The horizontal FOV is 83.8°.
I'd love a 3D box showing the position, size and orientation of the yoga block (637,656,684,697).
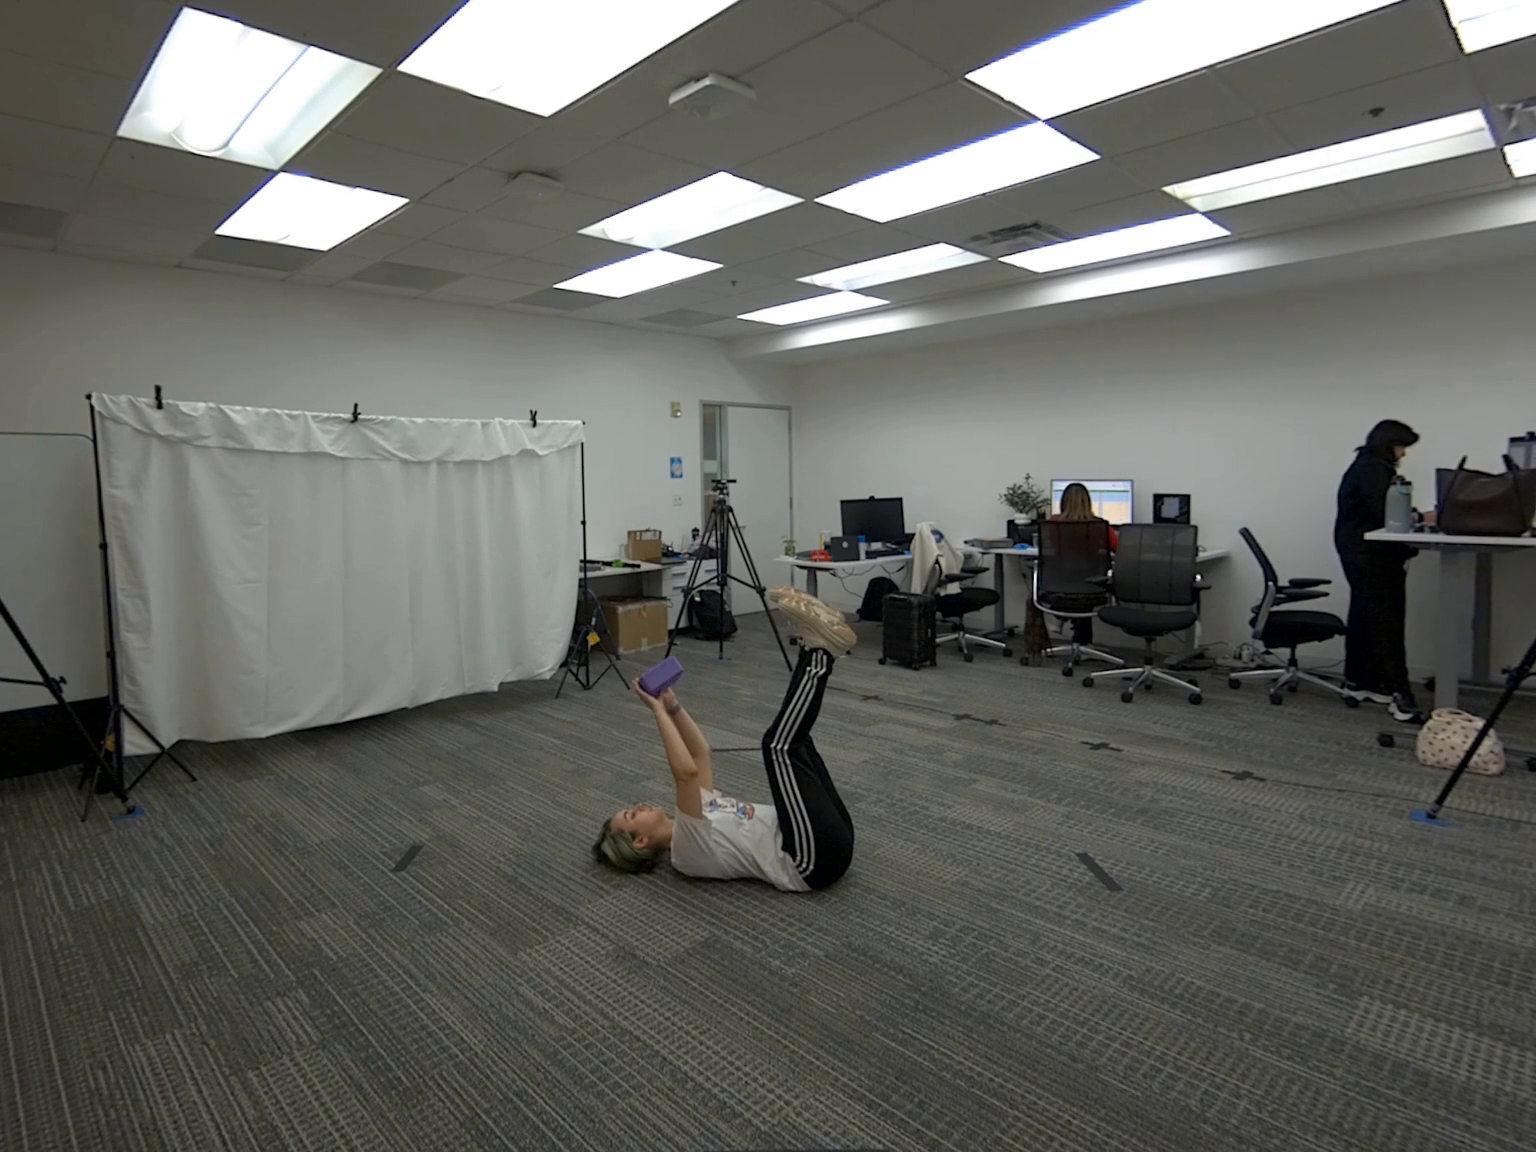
[{"bbox_3d":[-0.405,0.377,3.130,0.148,0.077,0.227,-32,-9,-16],"label":"yoga block"}]
